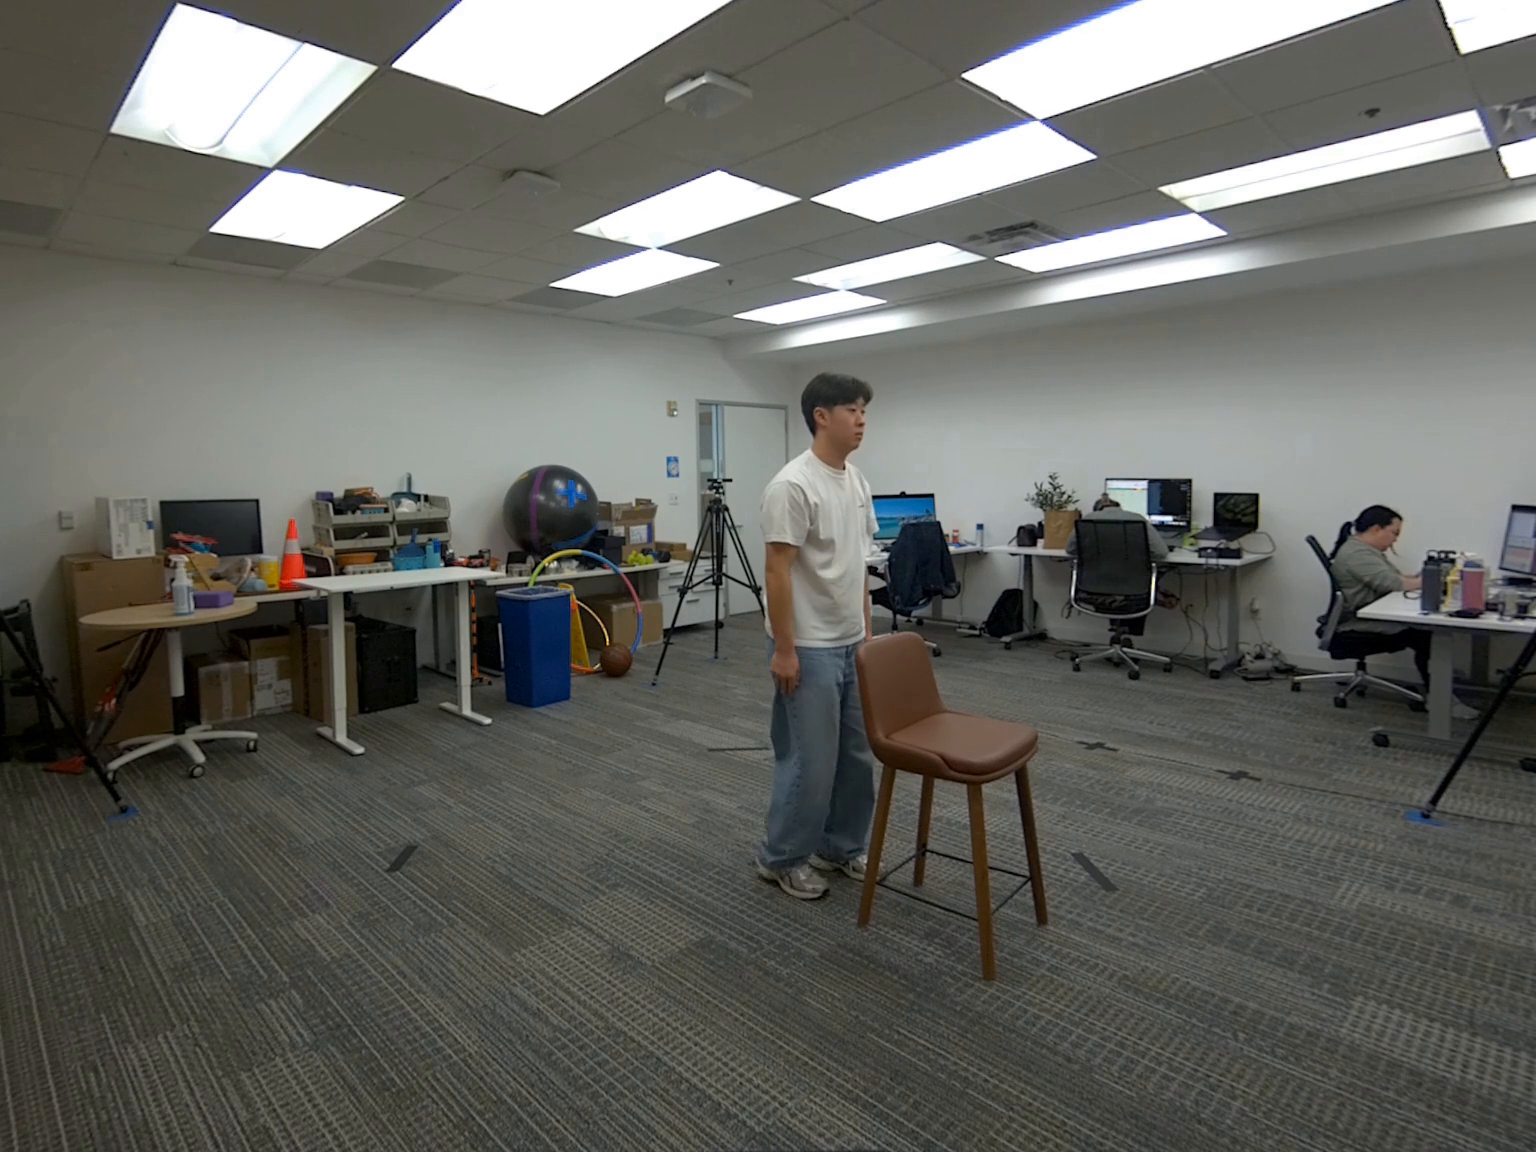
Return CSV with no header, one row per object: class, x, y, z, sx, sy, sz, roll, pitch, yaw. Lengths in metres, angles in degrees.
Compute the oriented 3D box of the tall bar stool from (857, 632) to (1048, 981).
tall bar stool,0.560,0.651,2.632,0.481,0.888,0.444,0,3,42
